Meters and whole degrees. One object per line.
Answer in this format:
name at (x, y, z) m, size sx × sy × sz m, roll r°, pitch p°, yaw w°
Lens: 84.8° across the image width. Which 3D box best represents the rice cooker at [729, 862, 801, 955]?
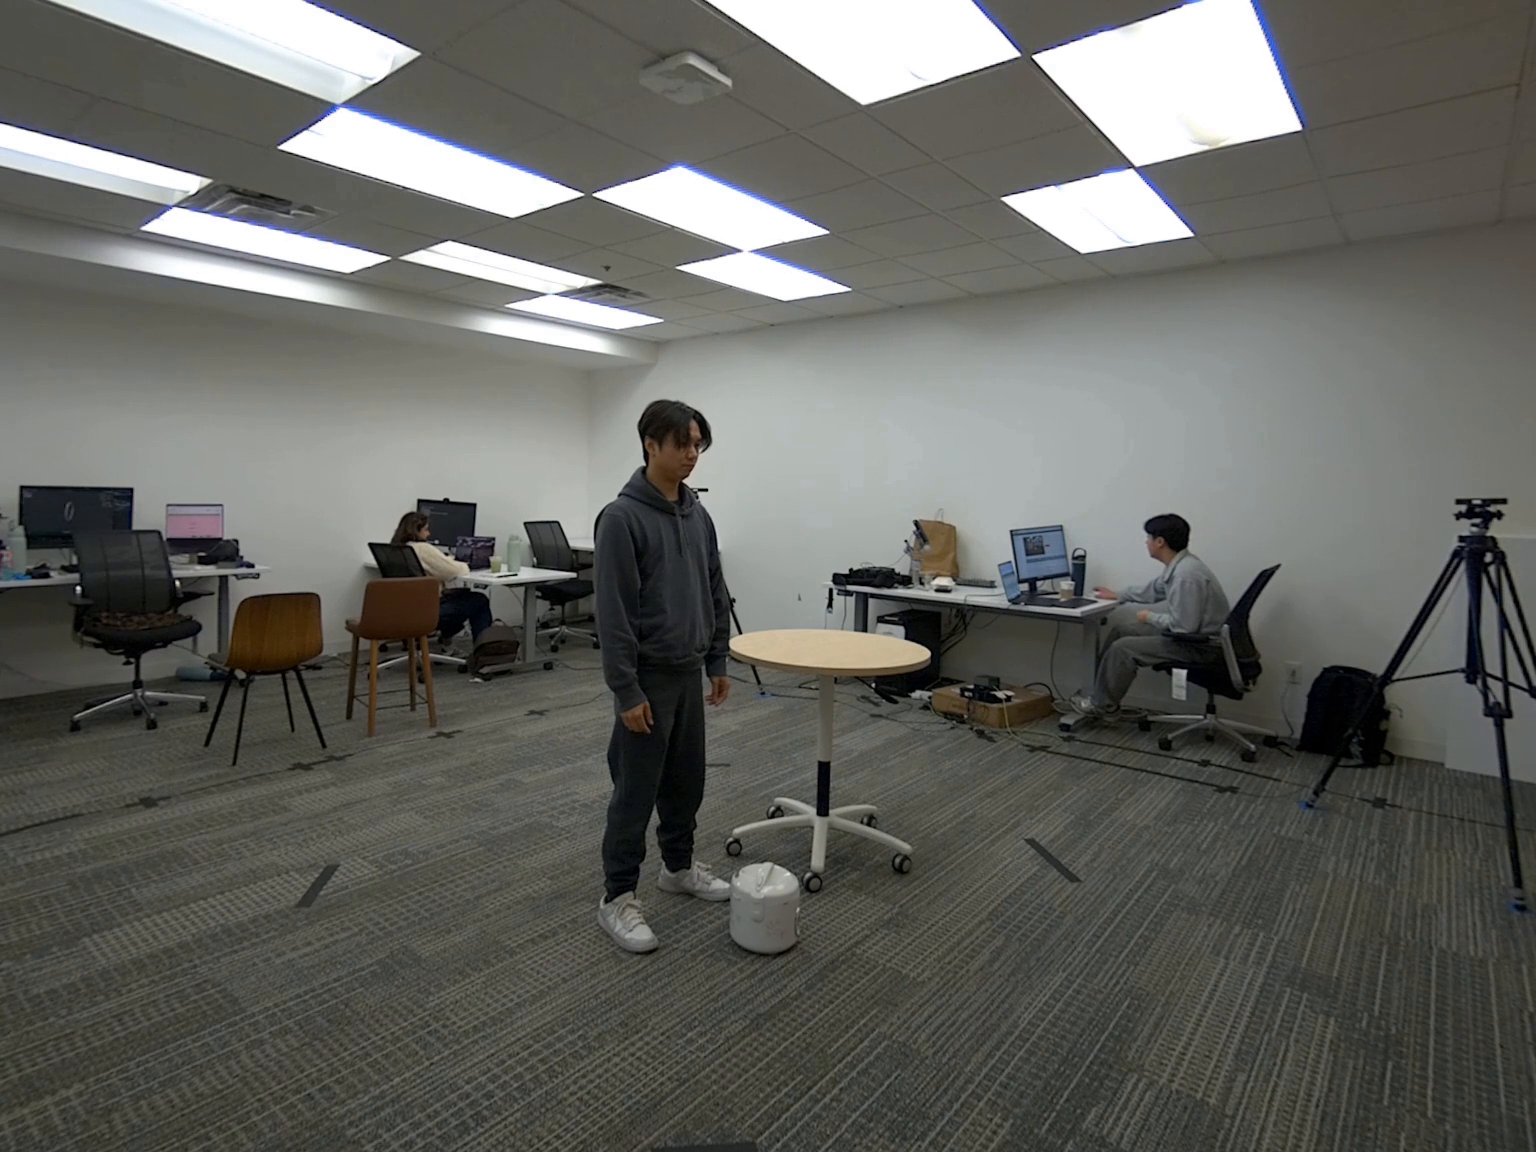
rice cooker at (-0.015, 1.009, 2.617) m, size 0.221 × 0.232 × 0.217 m, roll 2°, pitch 4°, yaw 16°
